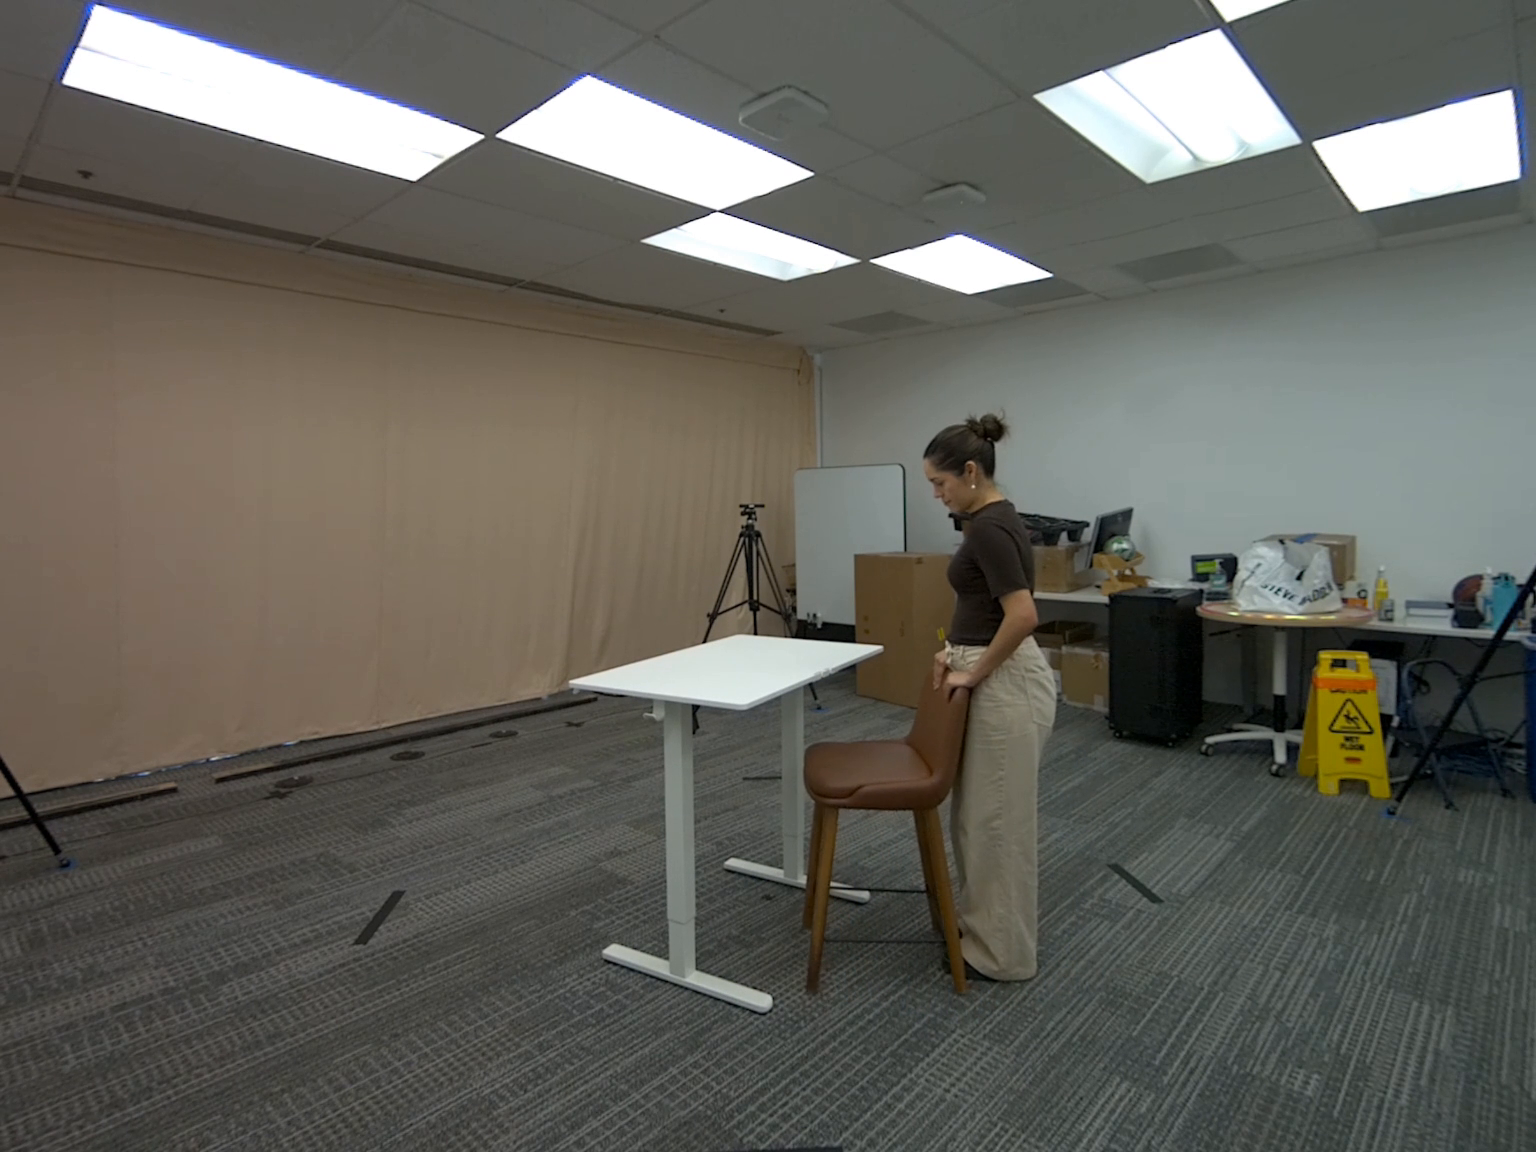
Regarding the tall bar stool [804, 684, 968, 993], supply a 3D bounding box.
[{"bbox_3d":[0.354,0.737,2.554,0.469,0.888,0.456,2,3,1],"label":"tall bar stool"}]
